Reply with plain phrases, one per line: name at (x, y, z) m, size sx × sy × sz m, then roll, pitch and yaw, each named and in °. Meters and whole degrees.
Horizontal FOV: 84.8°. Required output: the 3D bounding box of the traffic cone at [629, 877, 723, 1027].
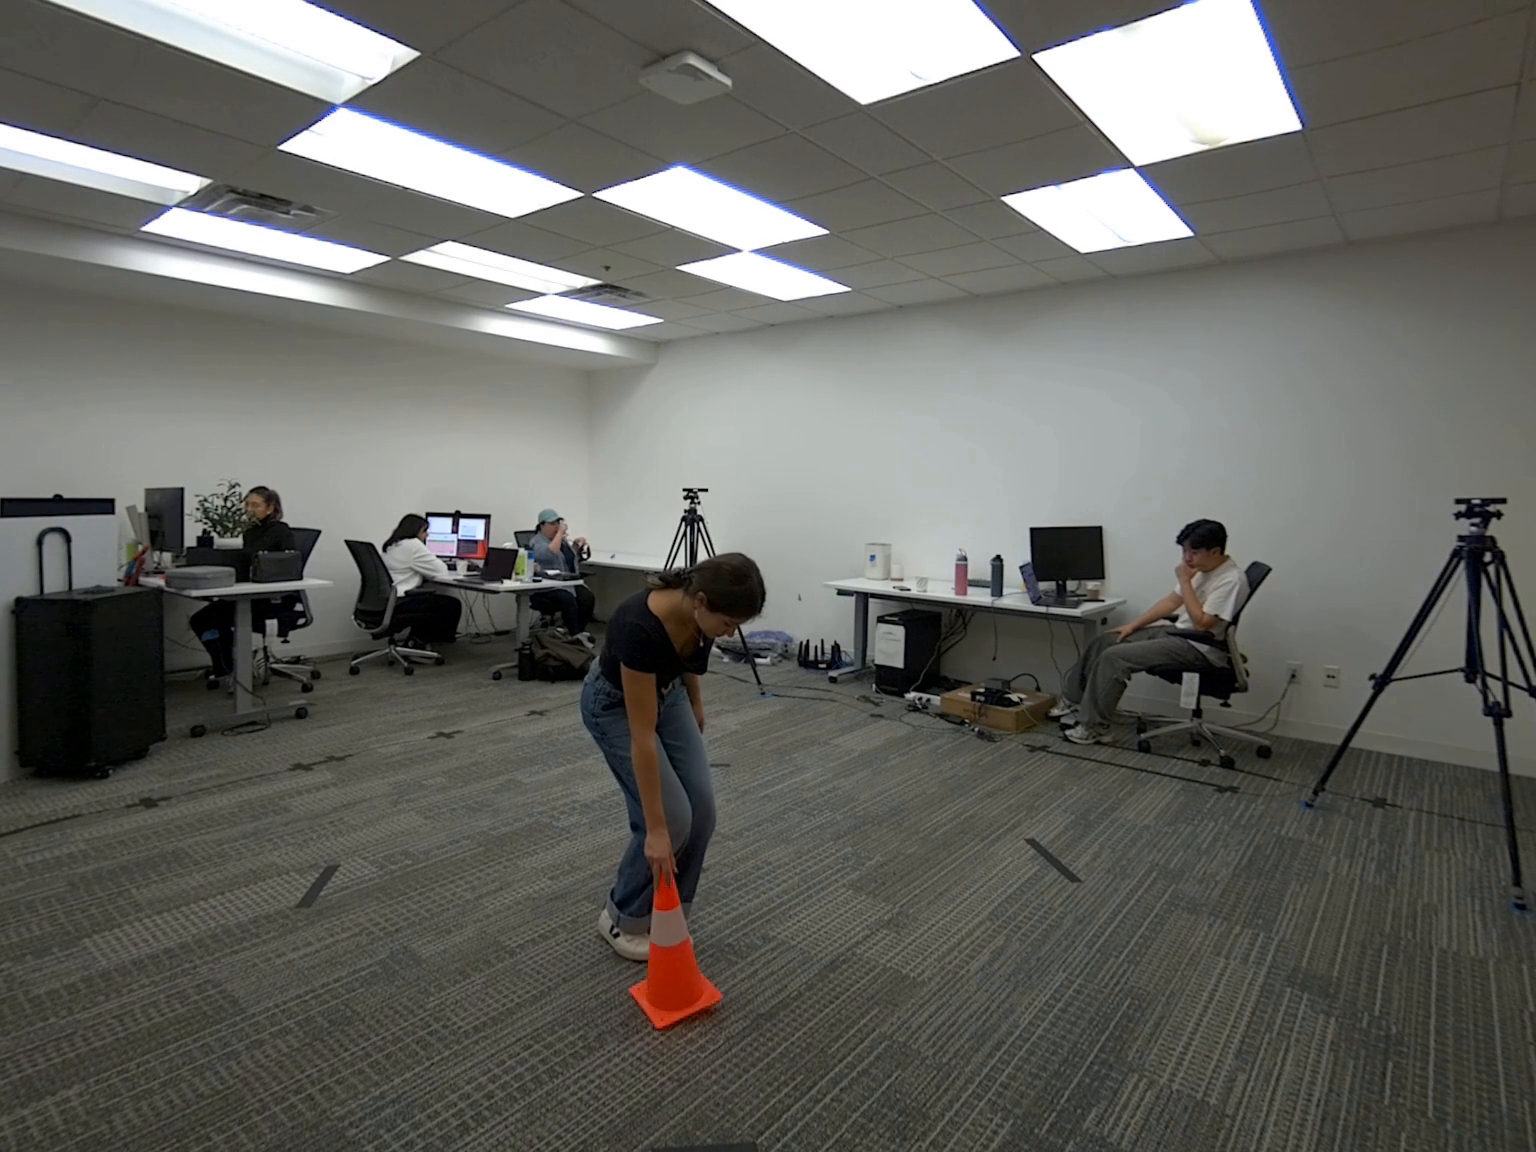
traffic cone at (-0.262, 0.927, 2.282) m, size 0.201 × 0.381 × 0.209 m, roll -8°, pitch 8°, yaw -25°
